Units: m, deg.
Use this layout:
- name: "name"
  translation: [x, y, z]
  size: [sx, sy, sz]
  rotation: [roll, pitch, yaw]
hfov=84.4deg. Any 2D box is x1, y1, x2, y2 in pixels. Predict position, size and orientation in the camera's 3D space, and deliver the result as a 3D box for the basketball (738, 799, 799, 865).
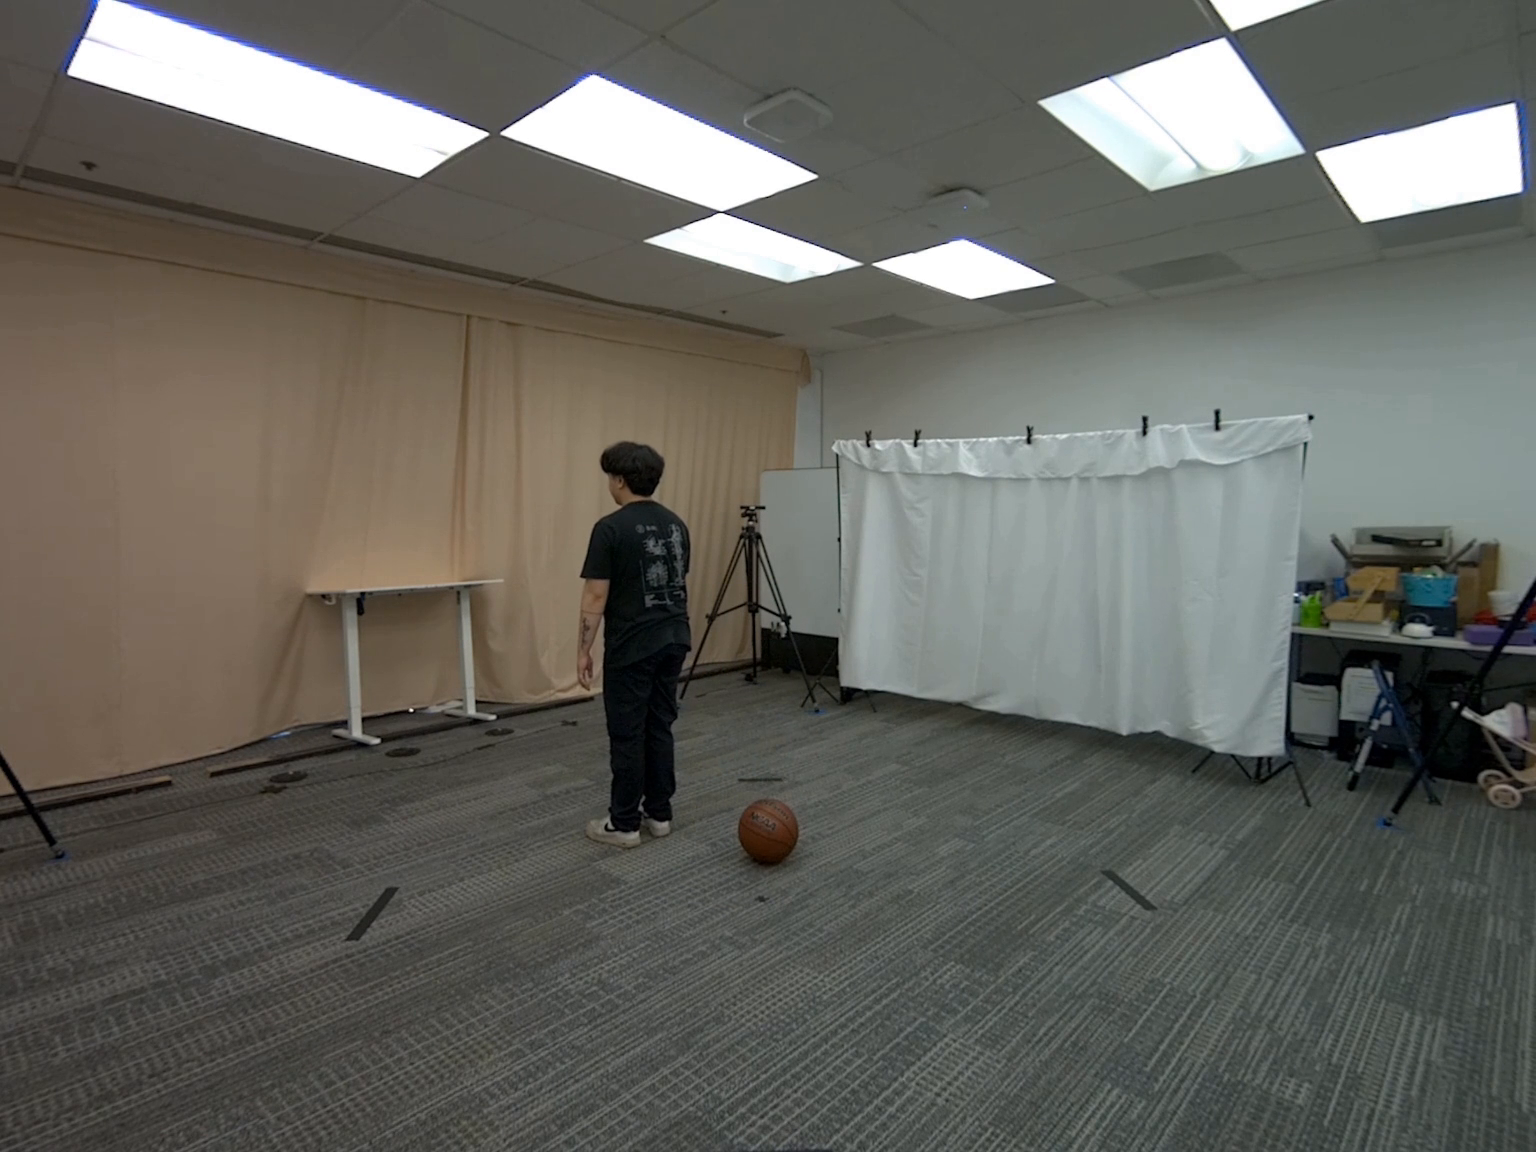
- name: "basketball"
  translation: [0.008, 0.996, 3.300]
  size: [0.236, 0.235, 0.237]
  rotation: [0, 4, -2]
